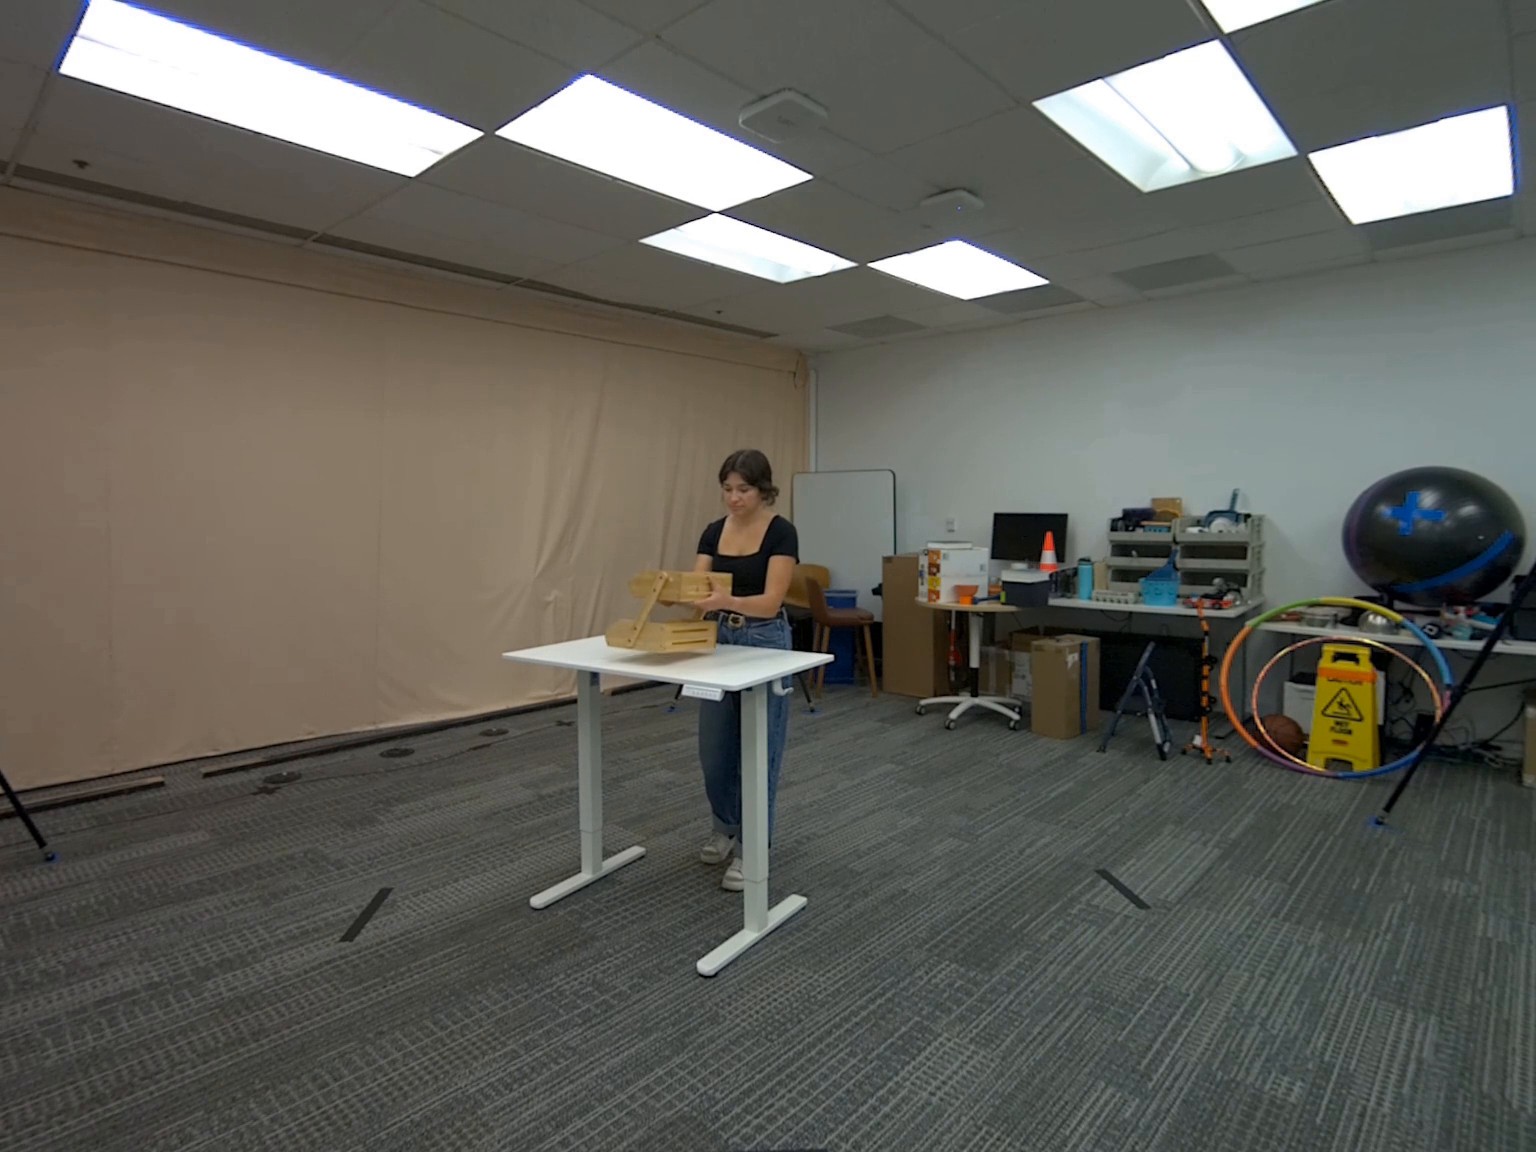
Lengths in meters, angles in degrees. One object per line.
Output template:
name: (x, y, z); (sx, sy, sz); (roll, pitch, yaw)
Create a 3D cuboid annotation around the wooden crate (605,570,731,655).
wooden crate: (-0.333, 0.104, 2.835); (0.311, 0.273, 0.314); (5, 1, 32)
